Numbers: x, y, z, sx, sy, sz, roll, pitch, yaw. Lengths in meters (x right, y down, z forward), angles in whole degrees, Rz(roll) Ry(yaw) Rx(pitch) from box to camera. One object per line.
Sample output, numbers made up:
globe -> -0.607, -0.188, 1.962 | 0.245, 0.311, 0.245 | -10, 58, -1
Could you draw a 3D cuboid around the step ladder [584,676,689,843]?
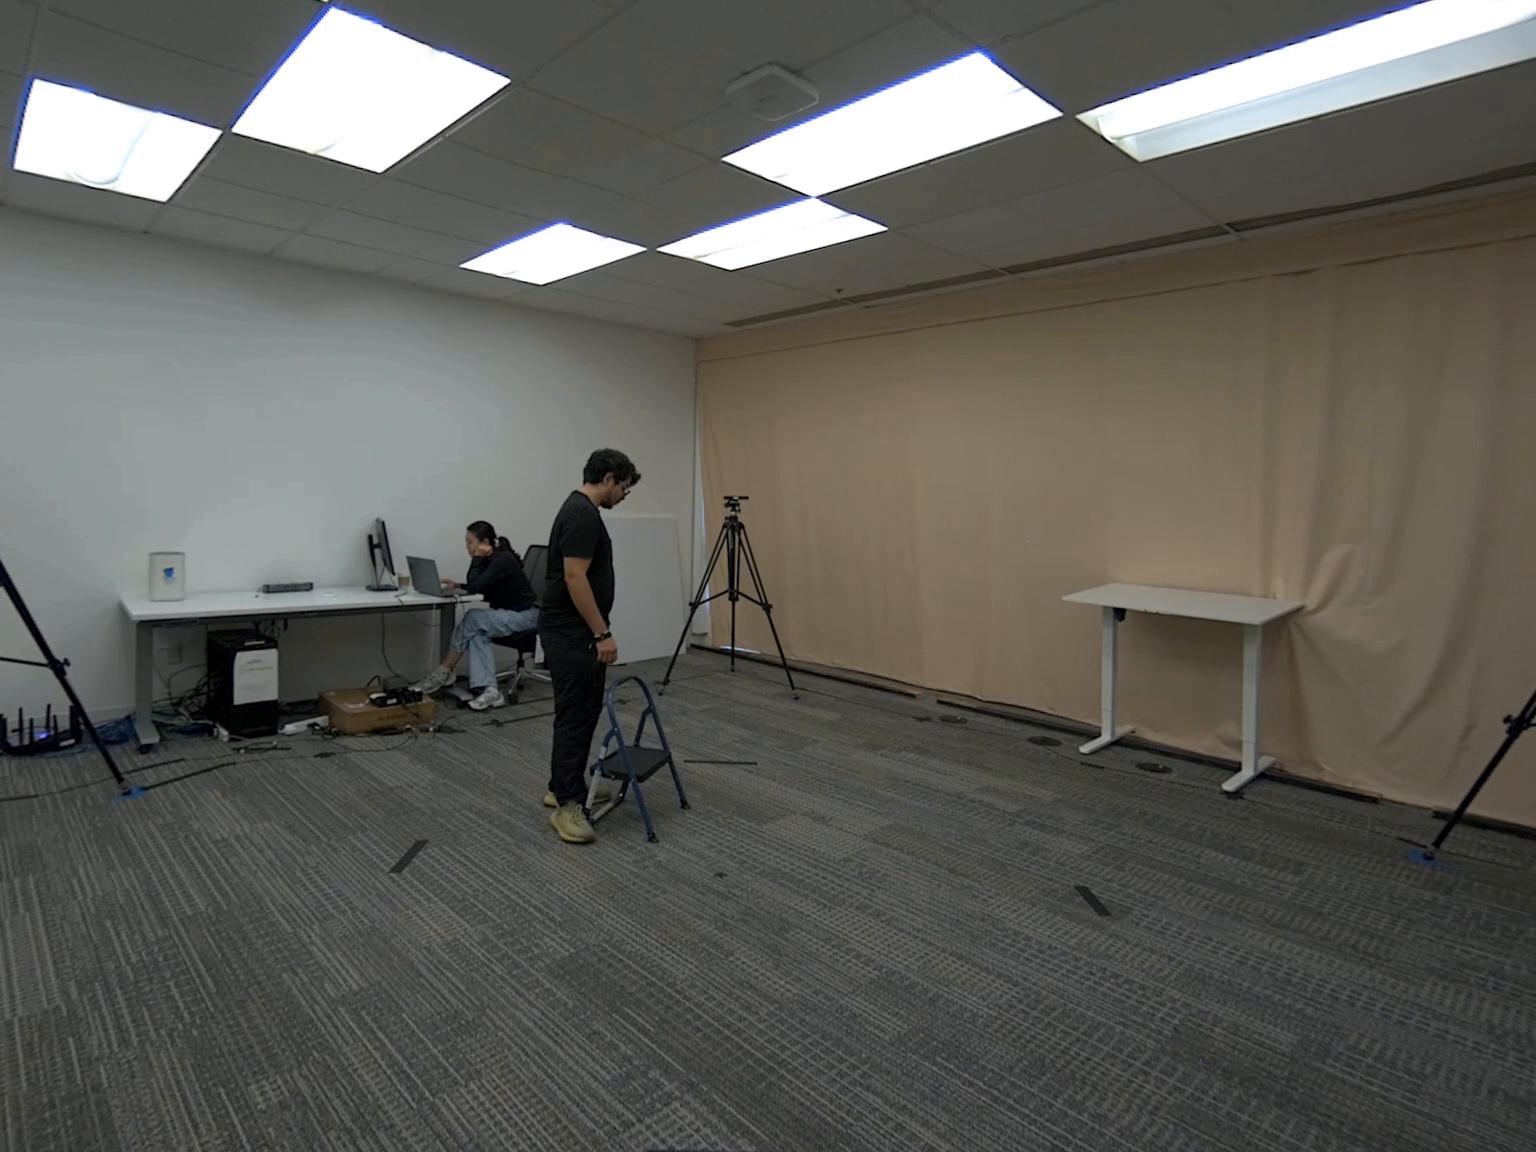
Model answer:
step ladder -> -0.565, 0.749, 3.619 | 0.353, 0.604, 0.426 | 2, 4, 14
